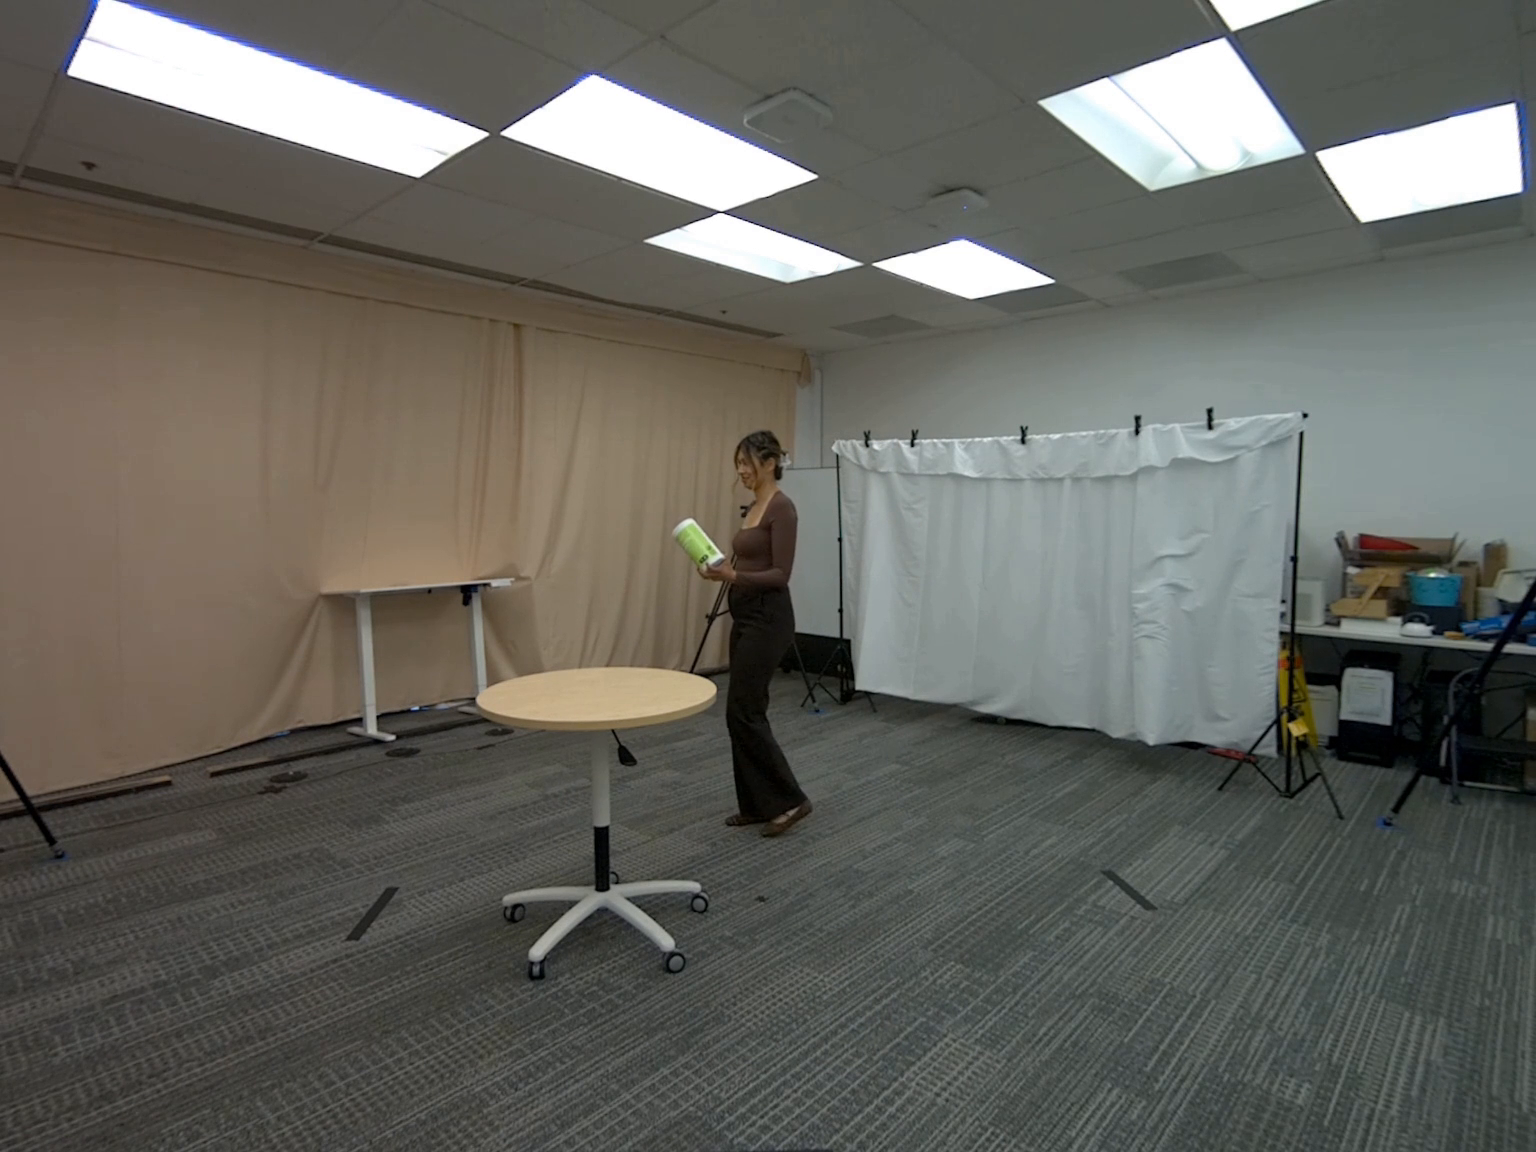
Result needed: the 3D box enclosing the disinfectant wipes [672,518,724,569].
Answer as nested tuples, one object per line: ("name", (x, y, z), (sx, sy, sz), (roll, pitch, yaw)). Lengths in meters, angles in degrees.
("disinfectant wipes", (-0.270, -0.114, 3.329), (0.117, 0.221, 0.116), (-36, -15, -13))
